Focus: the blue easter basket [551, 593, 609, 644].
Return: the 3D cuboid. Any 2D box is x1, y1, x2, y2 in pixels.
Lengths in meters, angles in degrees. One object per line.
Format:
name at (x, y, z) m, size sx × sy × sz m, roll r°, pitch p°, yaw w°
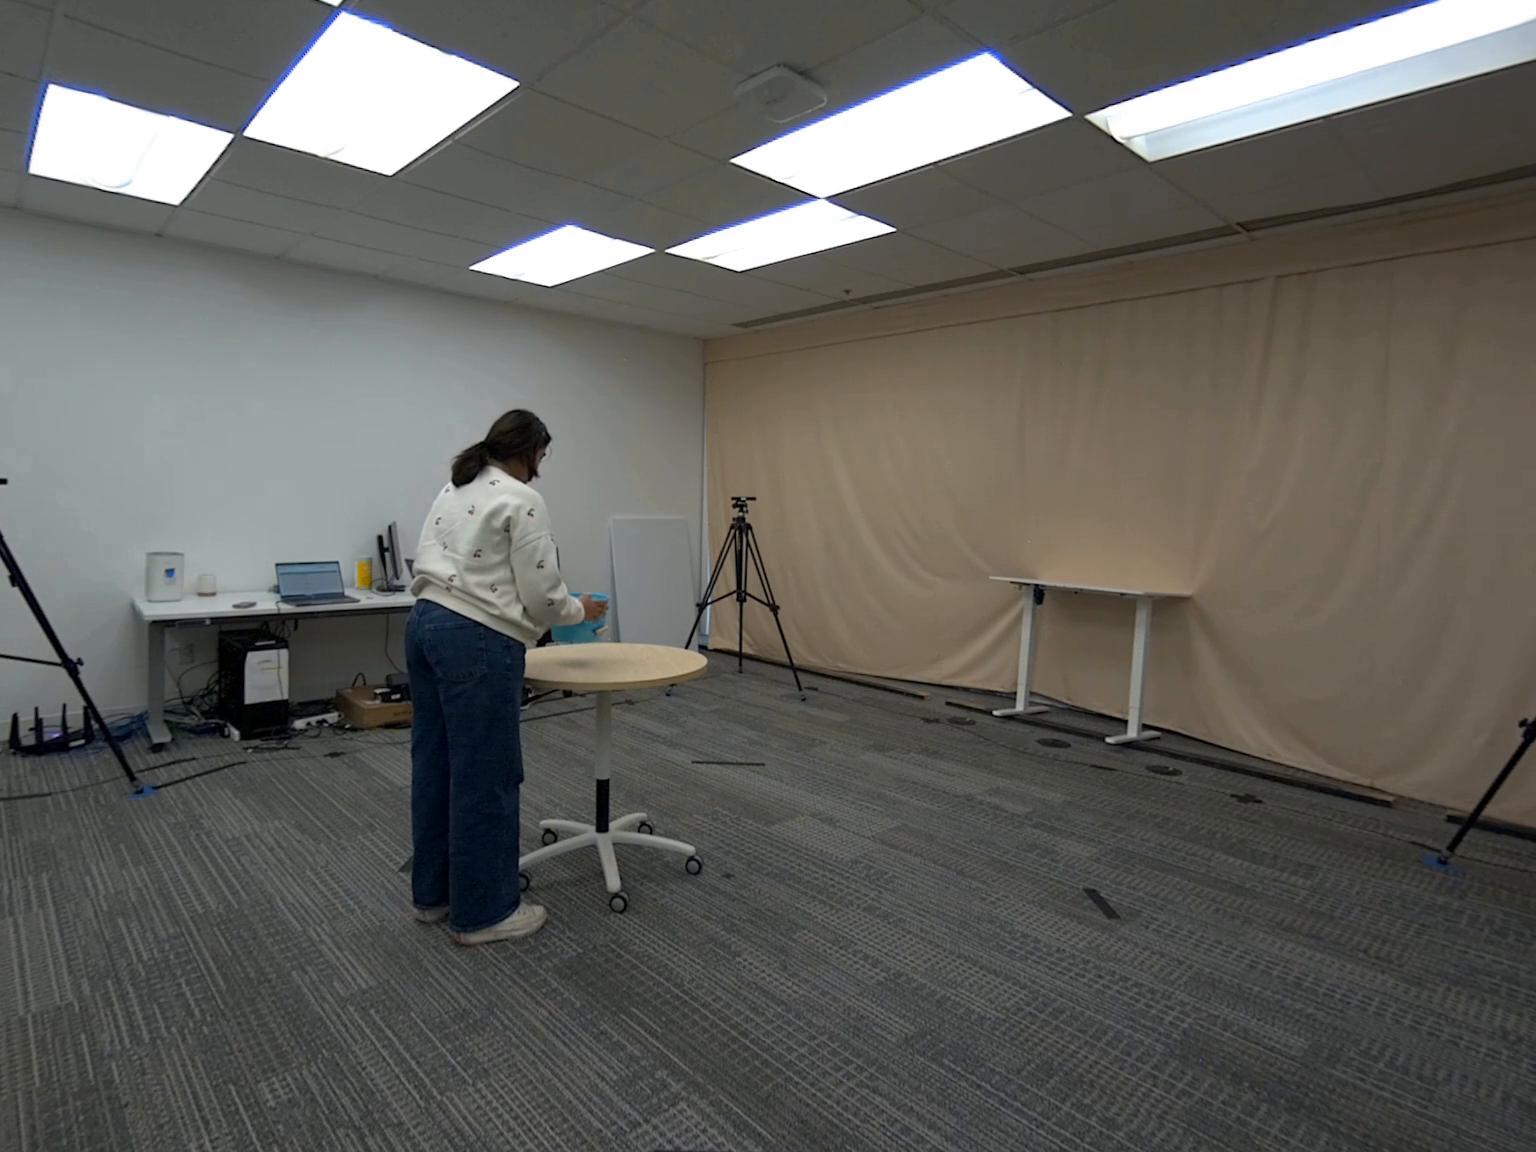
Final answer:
blue easter basket at (-0.701, 0.162, 3.036) m, size 0.243 × 0.155 × 0.245 m, roll -1°, pitch 6°, yaw -1°
